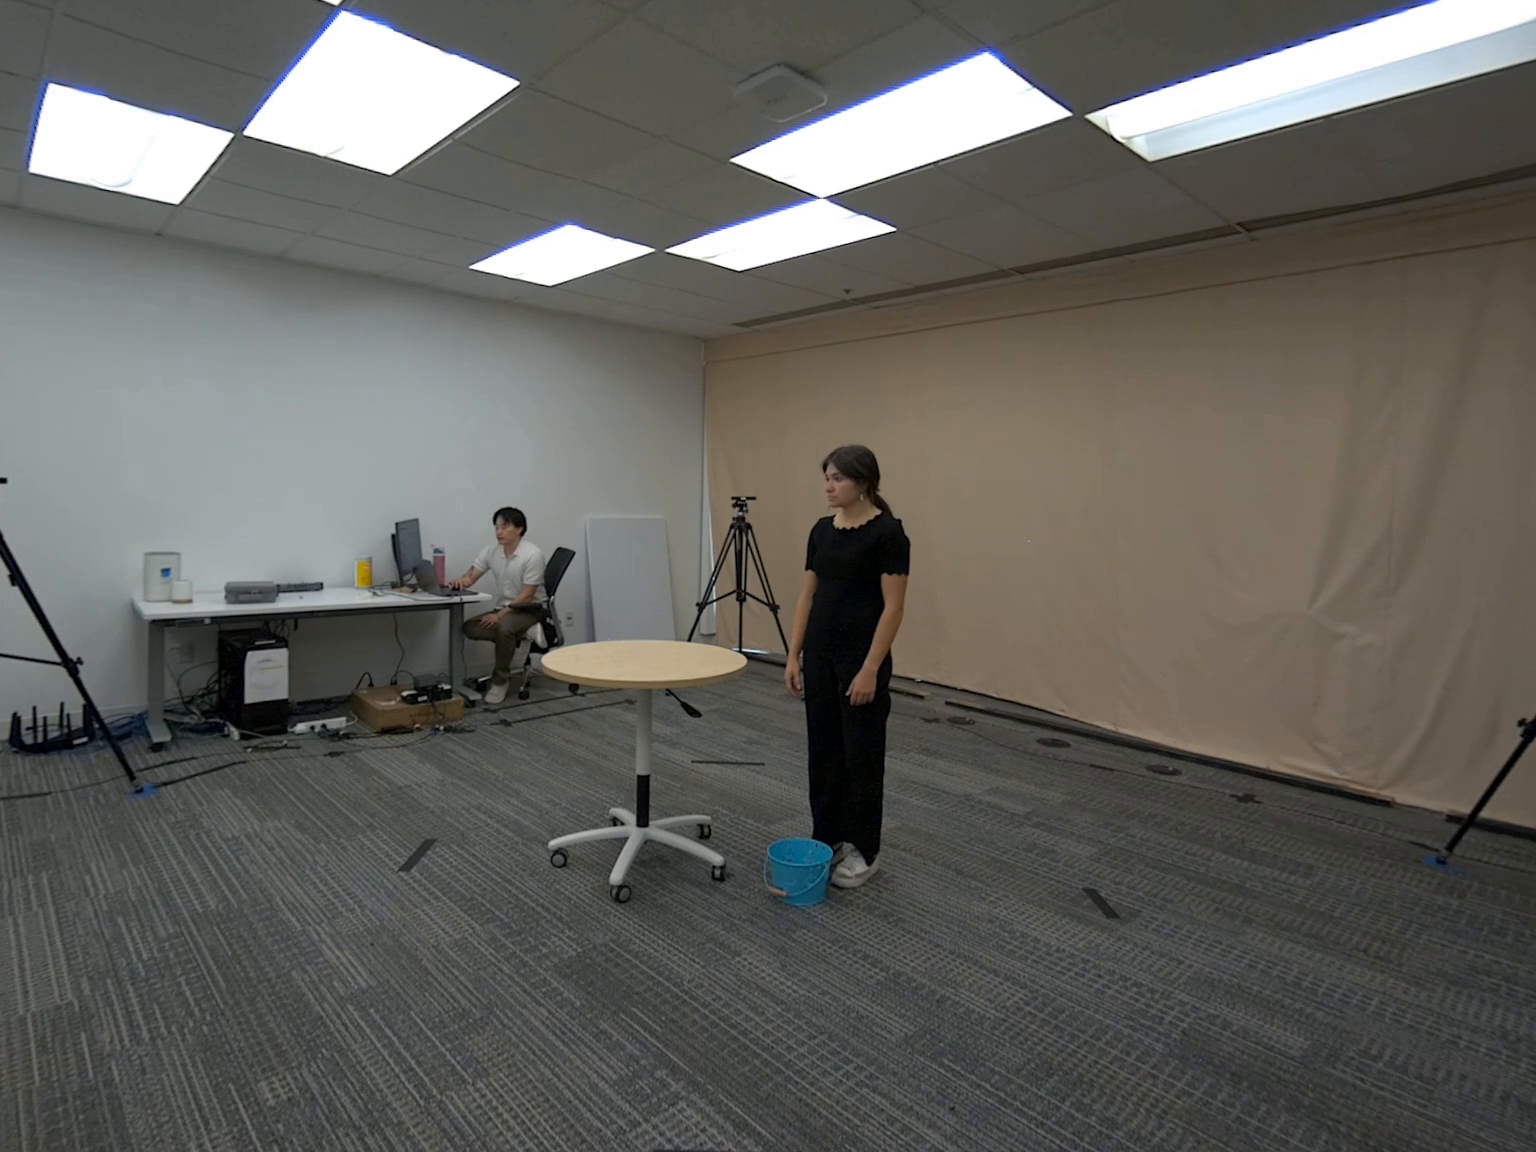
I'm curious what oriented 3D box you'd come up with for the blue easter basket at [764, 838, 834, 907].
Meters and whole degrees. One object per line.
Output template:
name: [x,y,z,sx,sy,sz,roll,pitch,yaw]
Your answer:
blue easter basket: [0.101,1.043,2.970,0.243,0.155,0.244,1,4,-1]
